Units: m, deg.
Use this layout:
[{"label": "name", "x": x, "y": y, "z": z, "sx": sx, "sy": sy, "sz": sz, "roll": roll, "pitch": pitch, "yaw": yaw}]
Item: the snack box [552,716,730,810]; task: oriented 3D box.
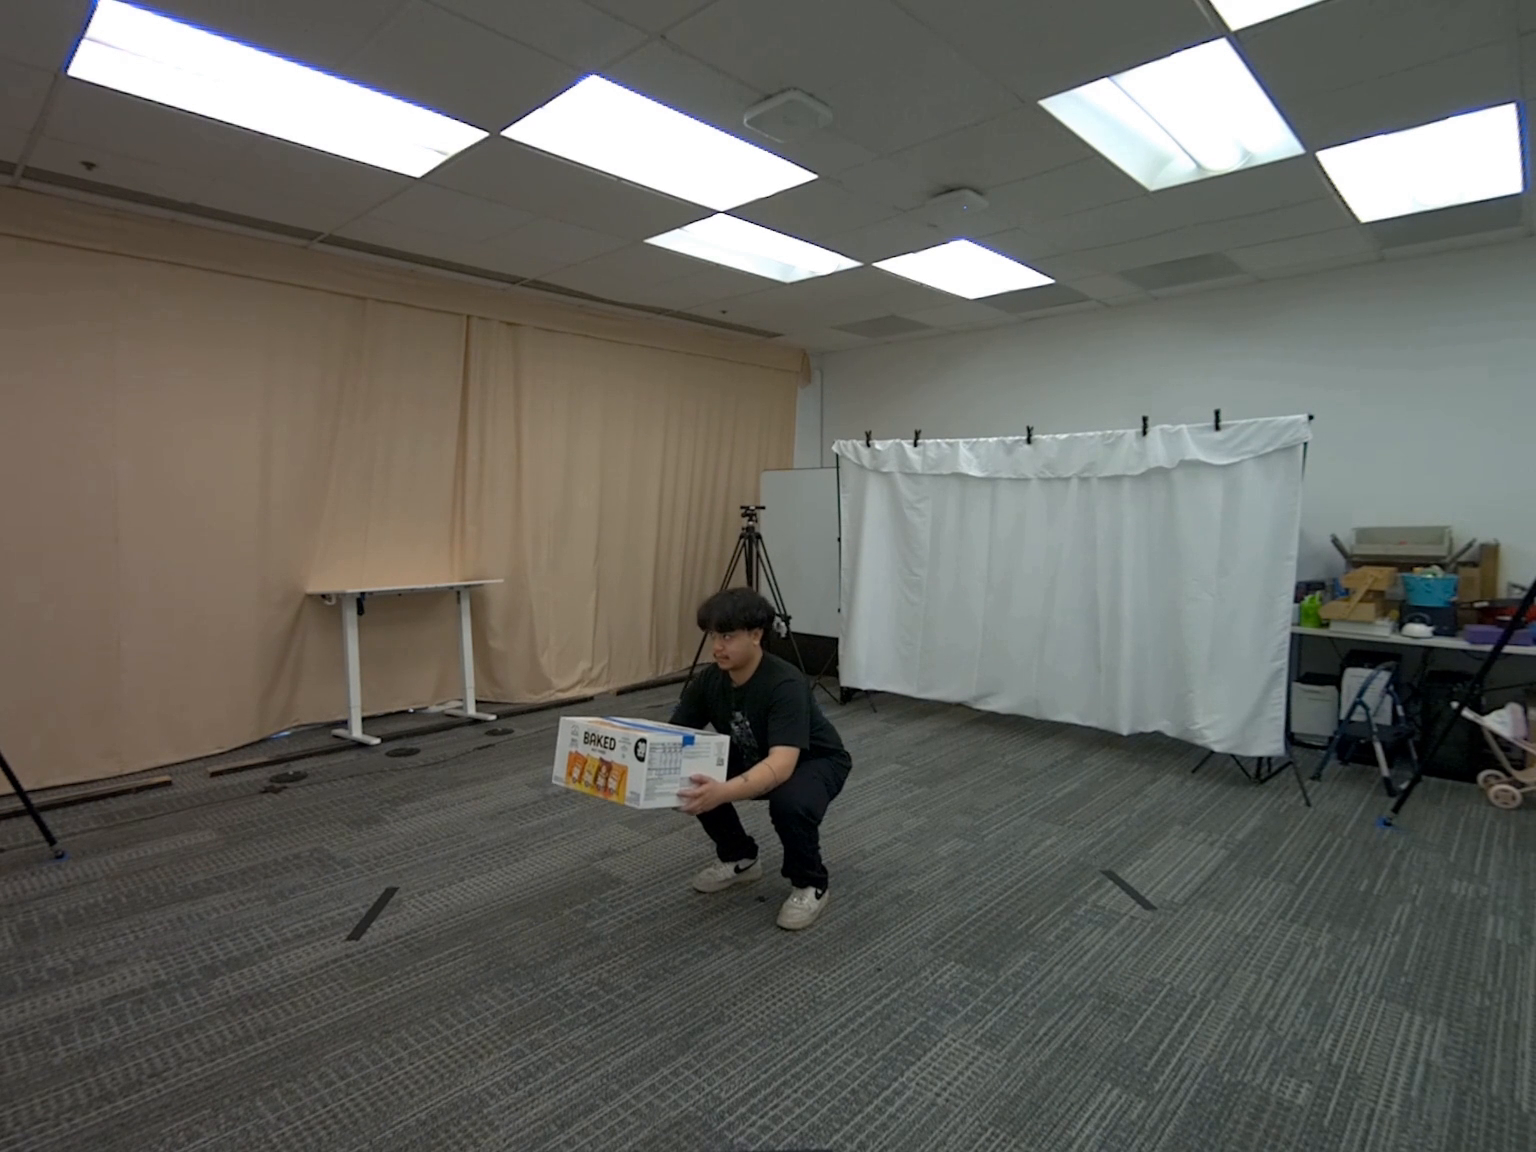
[{"label": "snack box", "x": -0.382, "y": 0.555, "z": 2.562, "sx": 0.418, "sy": 0.206, "sz": 0.328, "roll": 1, "pitch": -7, "yaw": 42}]
